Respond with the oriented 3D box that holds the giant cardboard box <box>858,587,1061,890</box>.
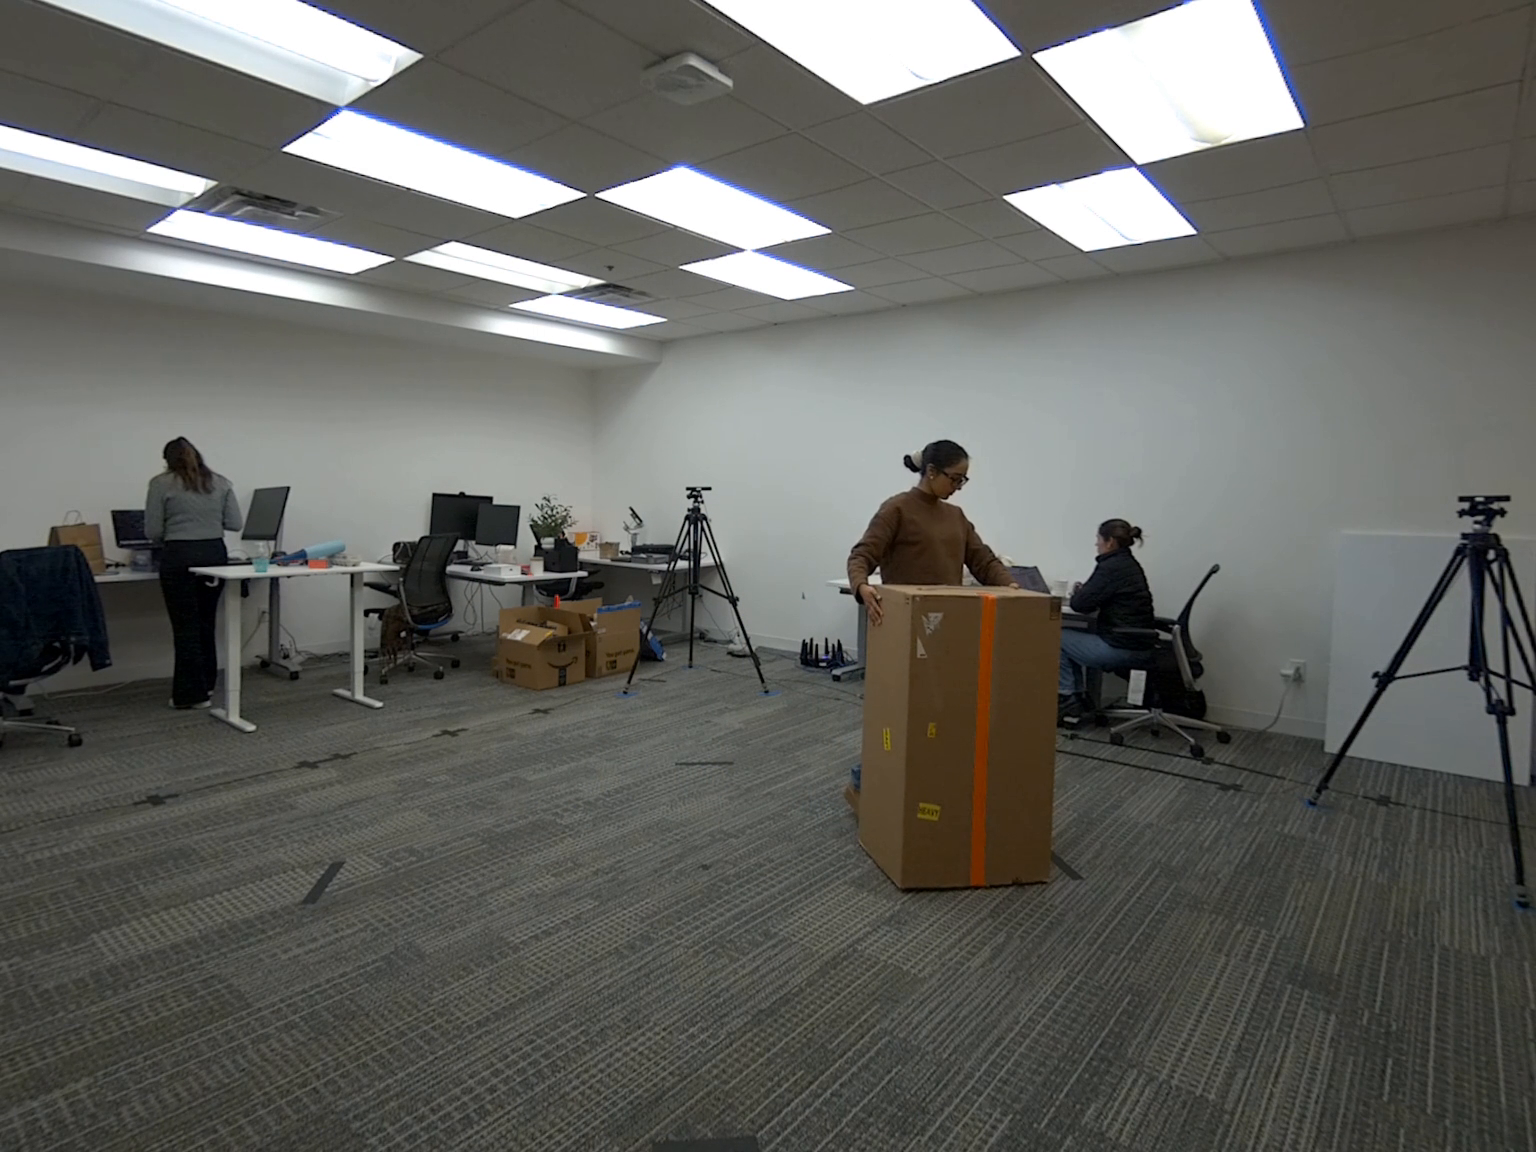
[{"bbox_3d":[0.697,0.570,3.190,0.570,1.025,0.433,3,1,-13],"label":"giant cardboard box"}]
